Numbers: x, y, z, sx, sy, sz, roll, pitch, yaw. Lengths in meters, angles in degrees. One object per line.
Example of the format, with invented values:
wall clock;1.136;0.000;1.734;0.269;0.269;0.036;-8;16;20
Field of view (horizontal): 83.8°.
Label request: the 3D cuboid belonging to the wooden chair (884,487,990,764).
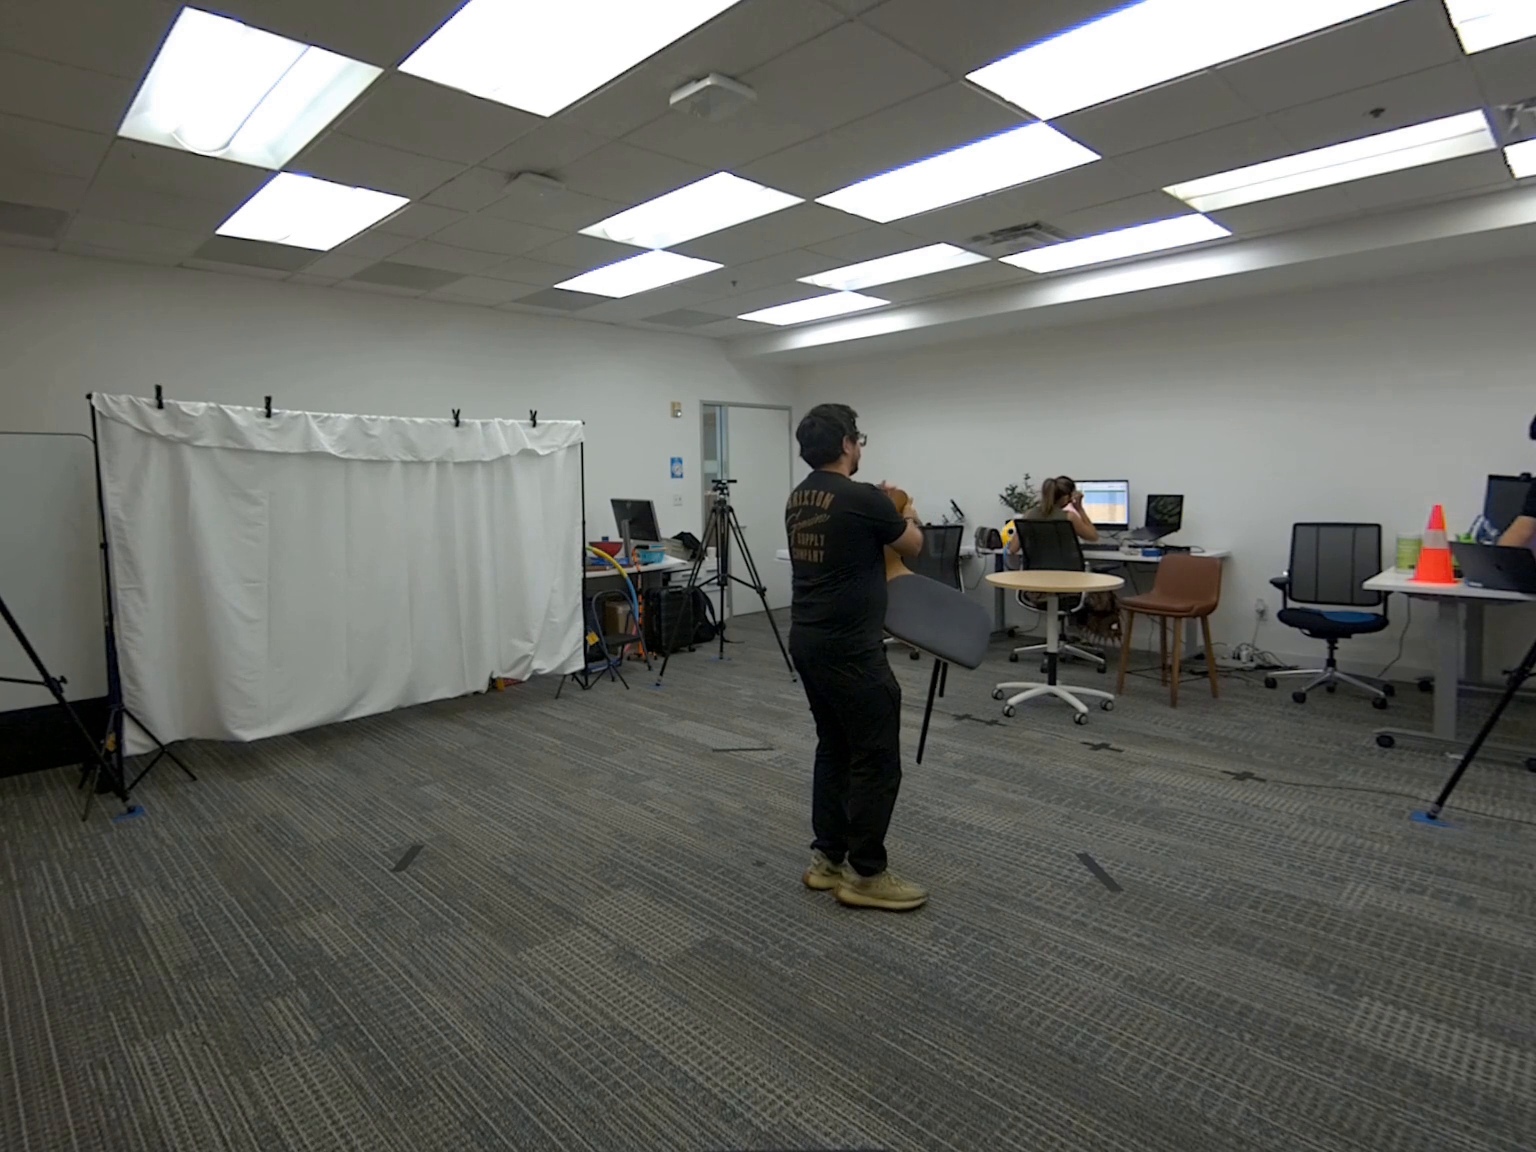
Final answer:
wooden chair;0.566;0.171;3.200;0.533;0.862;0.477;21;31;15
